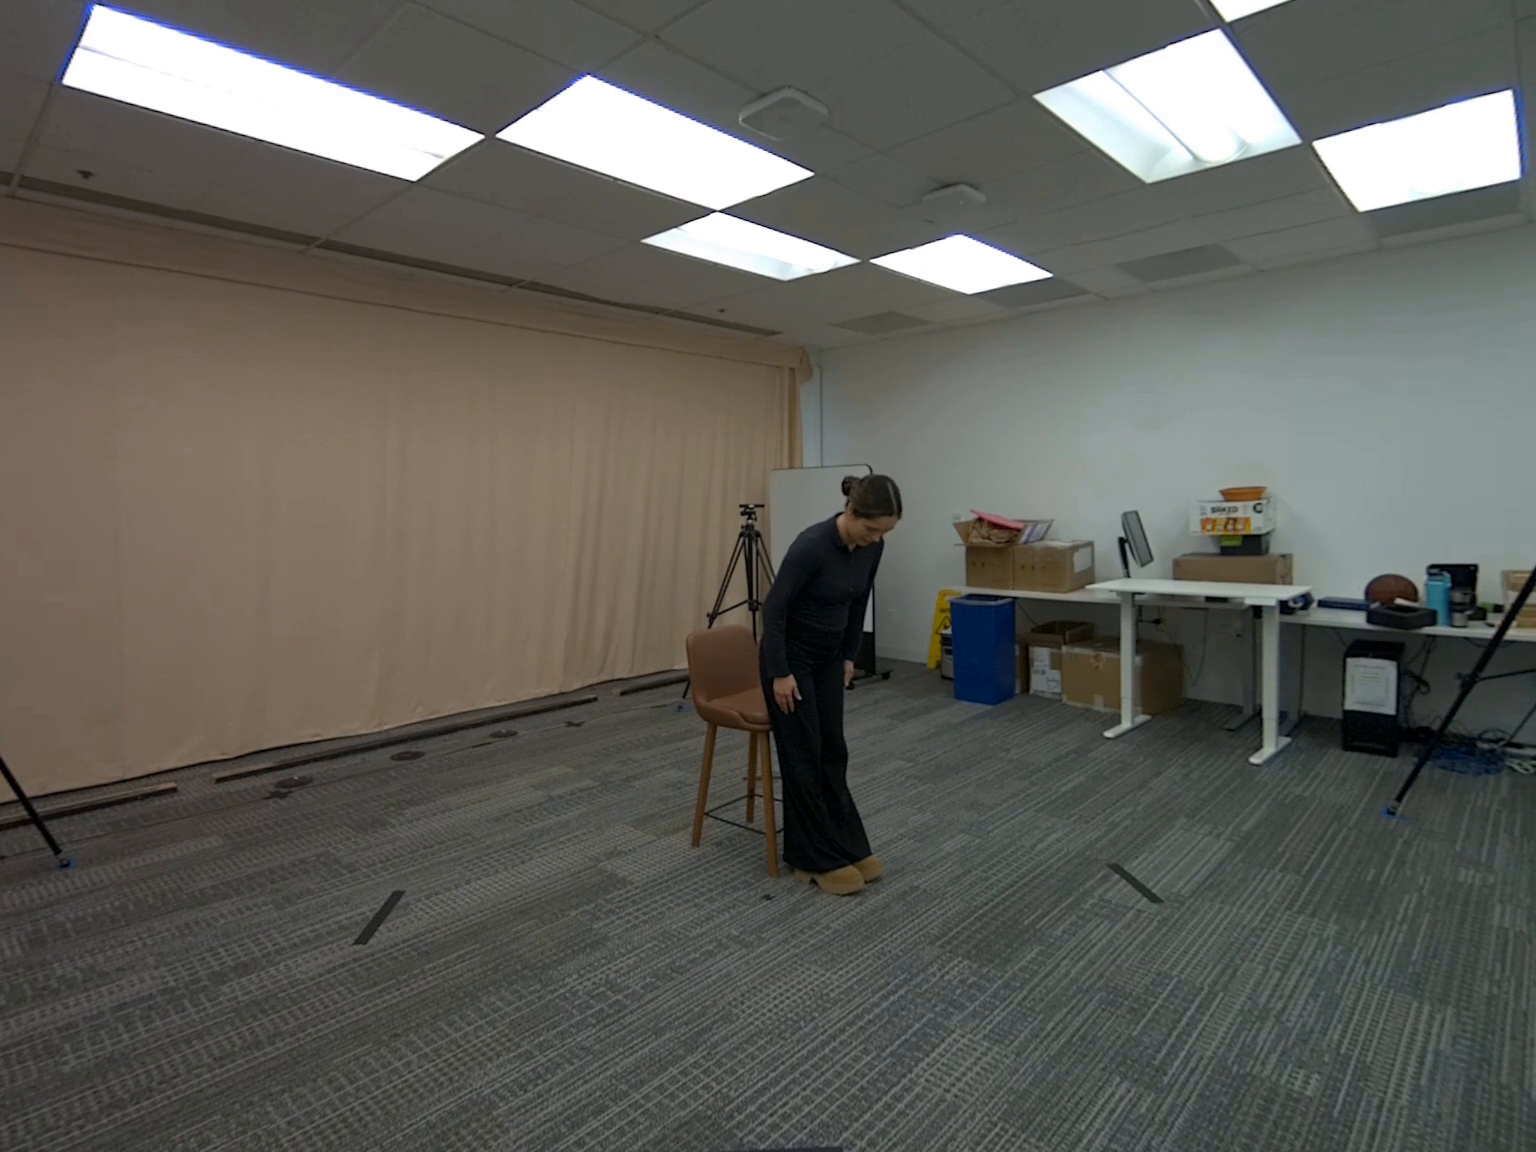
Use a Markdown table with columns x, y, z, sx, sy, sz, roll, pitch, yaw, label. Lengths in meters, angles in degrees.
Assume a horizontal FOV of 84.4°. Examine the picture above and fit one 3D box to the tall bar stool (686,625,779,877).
| x | y | z | sx | sy | sz | roll | pitch | yaw | label |
| --- | --- | --- | --- | --- | --- | --- | --- | --- | --- |
| -0.039 | 0.665 | 3.416 | 0.482 | 0.888 | 0.443 | 0 | 3 | 41 | tall bar stool |
